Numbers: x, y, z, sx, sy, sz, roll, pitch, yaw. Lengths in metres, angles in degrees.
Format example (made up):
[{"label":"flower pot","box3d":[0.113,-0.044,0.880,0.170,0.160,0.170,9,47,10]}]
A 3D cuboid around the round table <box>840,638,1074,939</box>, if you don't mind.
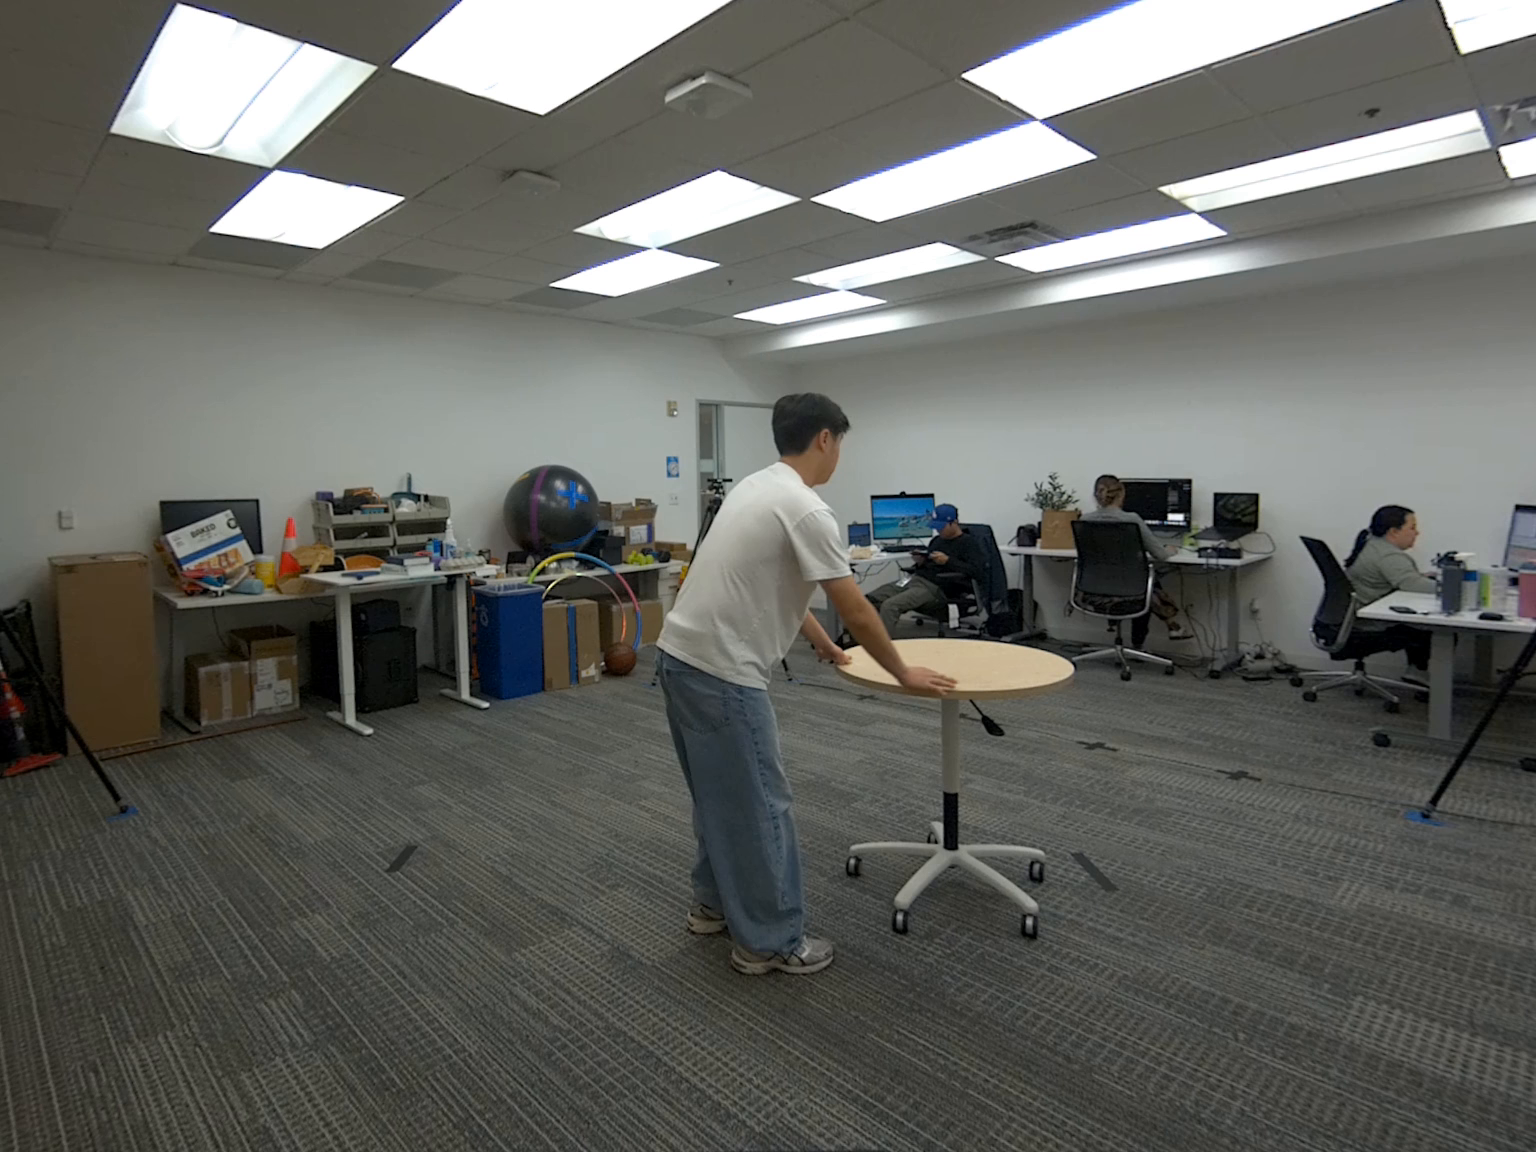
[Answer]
[{"label":"round table","box3d":[0.610,0.674,2.866,0.763,0.791,0.768,-1,5,-2]}]
